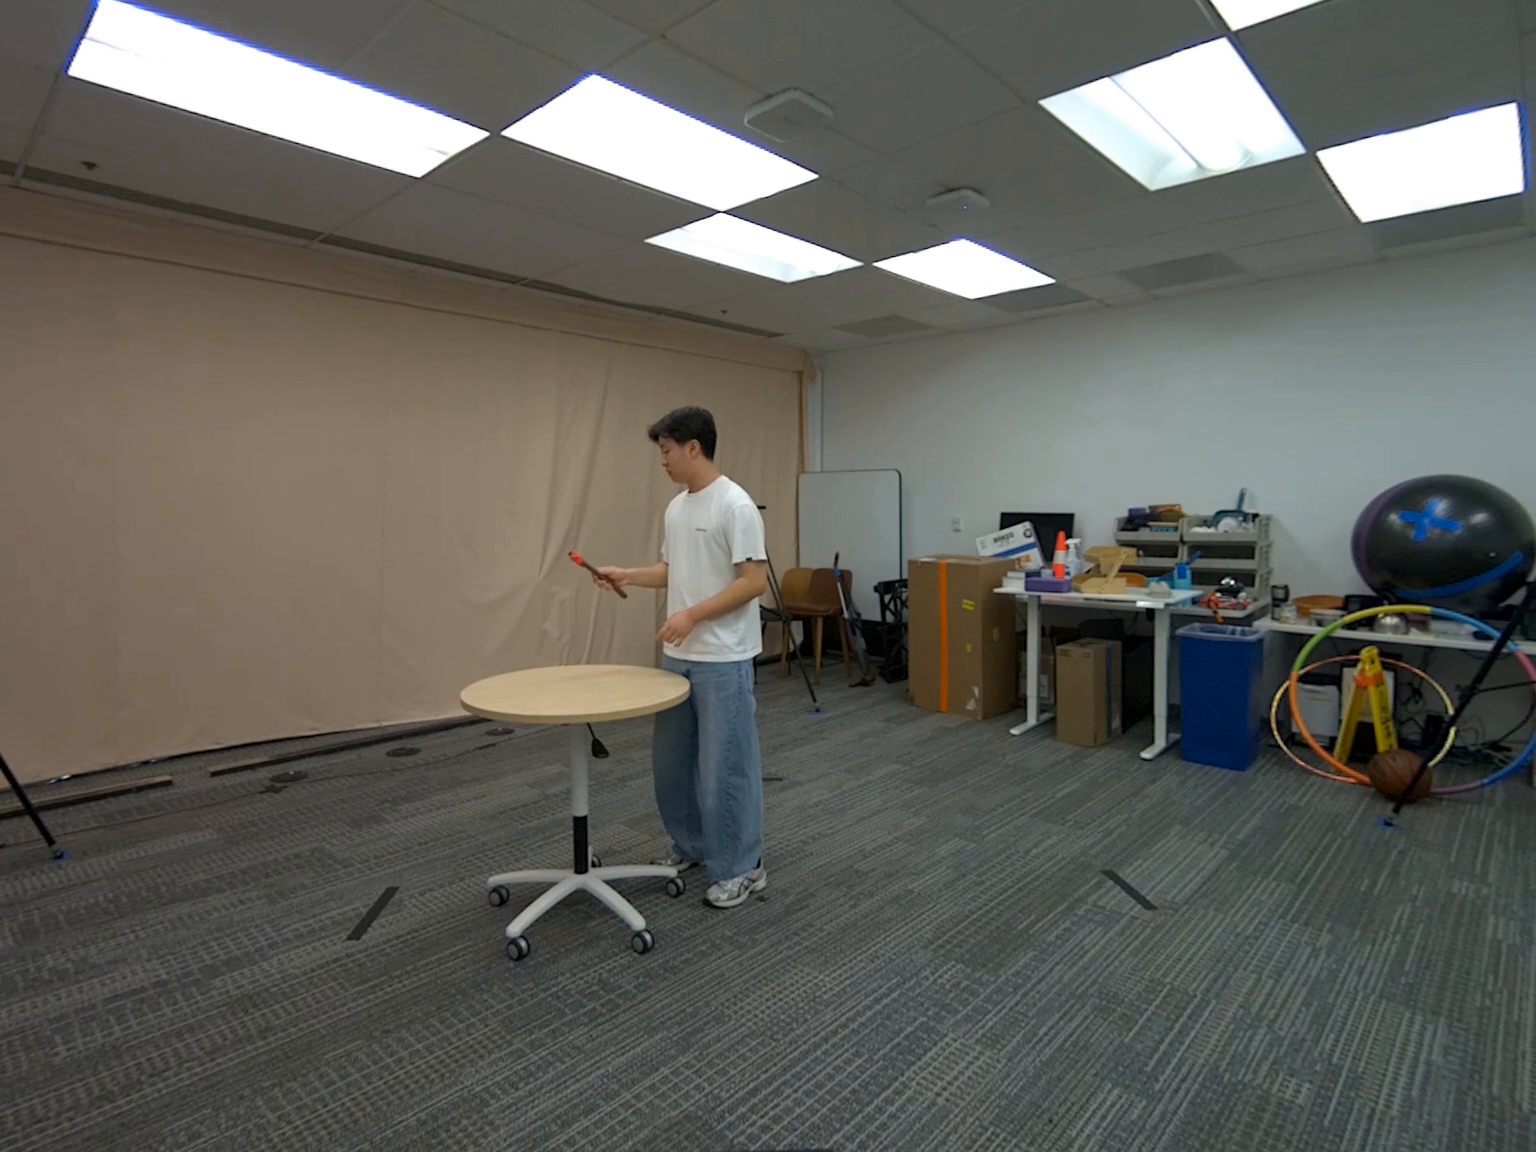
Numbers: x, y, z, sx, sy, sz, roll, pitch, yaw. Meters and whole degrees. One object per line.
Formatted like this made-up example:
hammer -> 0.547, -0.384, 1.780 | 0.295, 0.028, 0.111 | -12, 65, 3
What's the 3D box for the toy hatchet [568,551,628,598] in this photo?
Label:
toy hatchet -> -0.637, -0.003, 3.107 | 0.135, 0.029, 0.261 | 8, -31, 52
